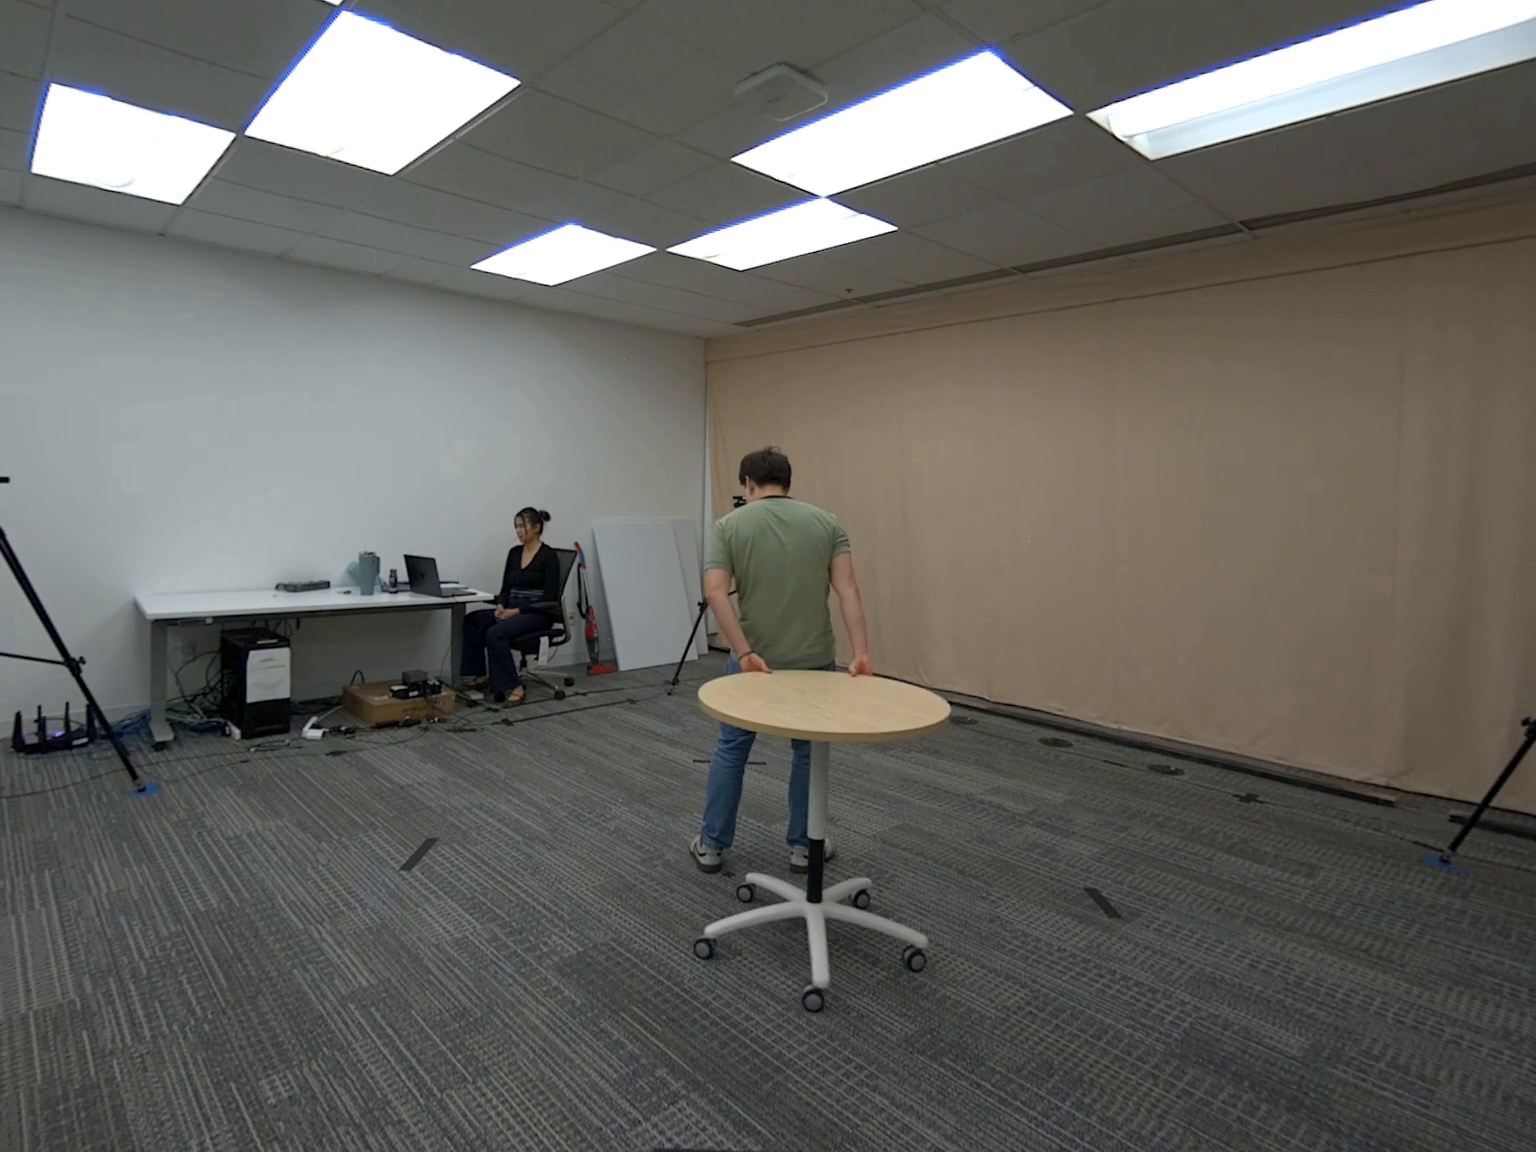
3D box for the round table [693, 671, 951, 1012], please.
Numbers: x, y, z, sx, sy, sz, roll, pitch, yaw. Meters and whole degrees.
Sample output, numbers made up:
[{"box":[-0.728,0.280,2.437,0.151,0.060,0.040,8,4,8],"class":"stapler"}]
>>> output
[{"box":[0.145,0.768,2.616,0.763,0.791,0.767,2,5,-2],"class":"round table"}]
